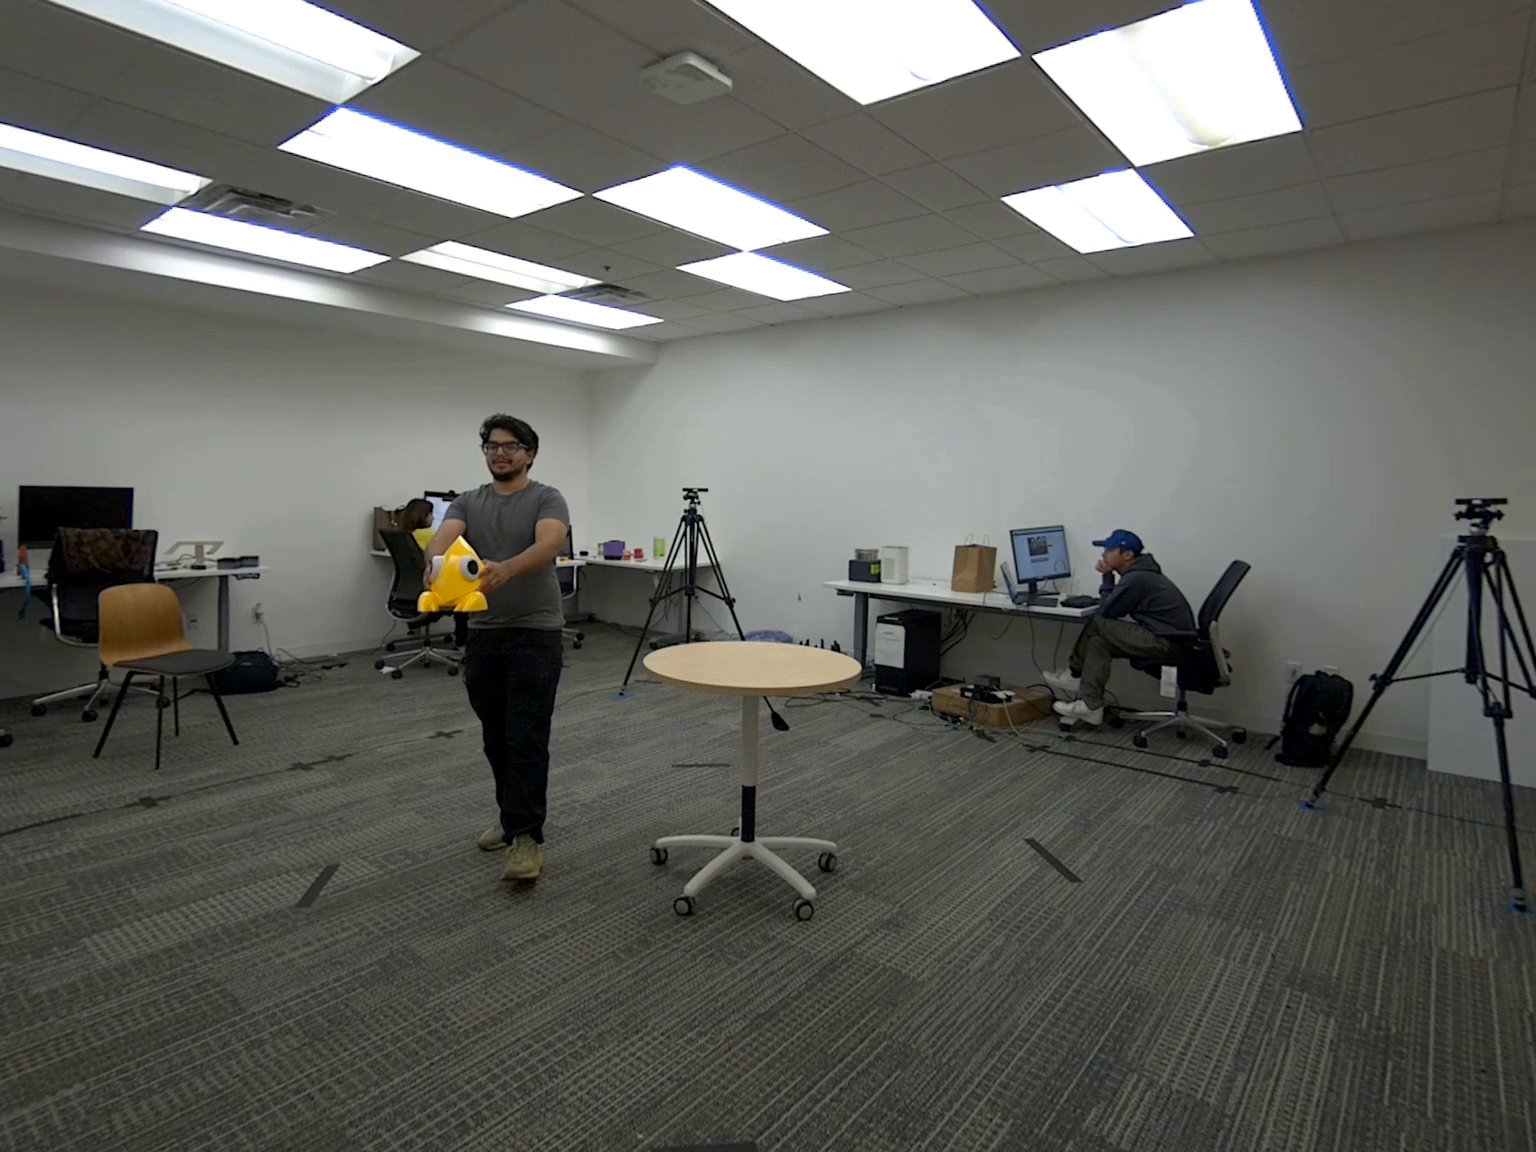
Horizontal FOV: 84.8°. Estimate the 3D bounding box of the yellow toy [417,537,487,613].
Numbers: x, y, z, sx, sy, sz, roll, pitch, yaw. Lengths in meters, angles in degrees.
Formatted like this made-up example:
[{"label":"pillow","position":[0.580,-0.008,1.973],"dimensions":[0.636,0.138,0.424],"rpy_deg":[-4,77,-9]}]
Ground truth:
[{"label":"yellow toy","position":[-0.993,-0.015,2.628],"dimensions":[0.205,0.231,0.192],"rpy_deg":[1,0,1]}]
